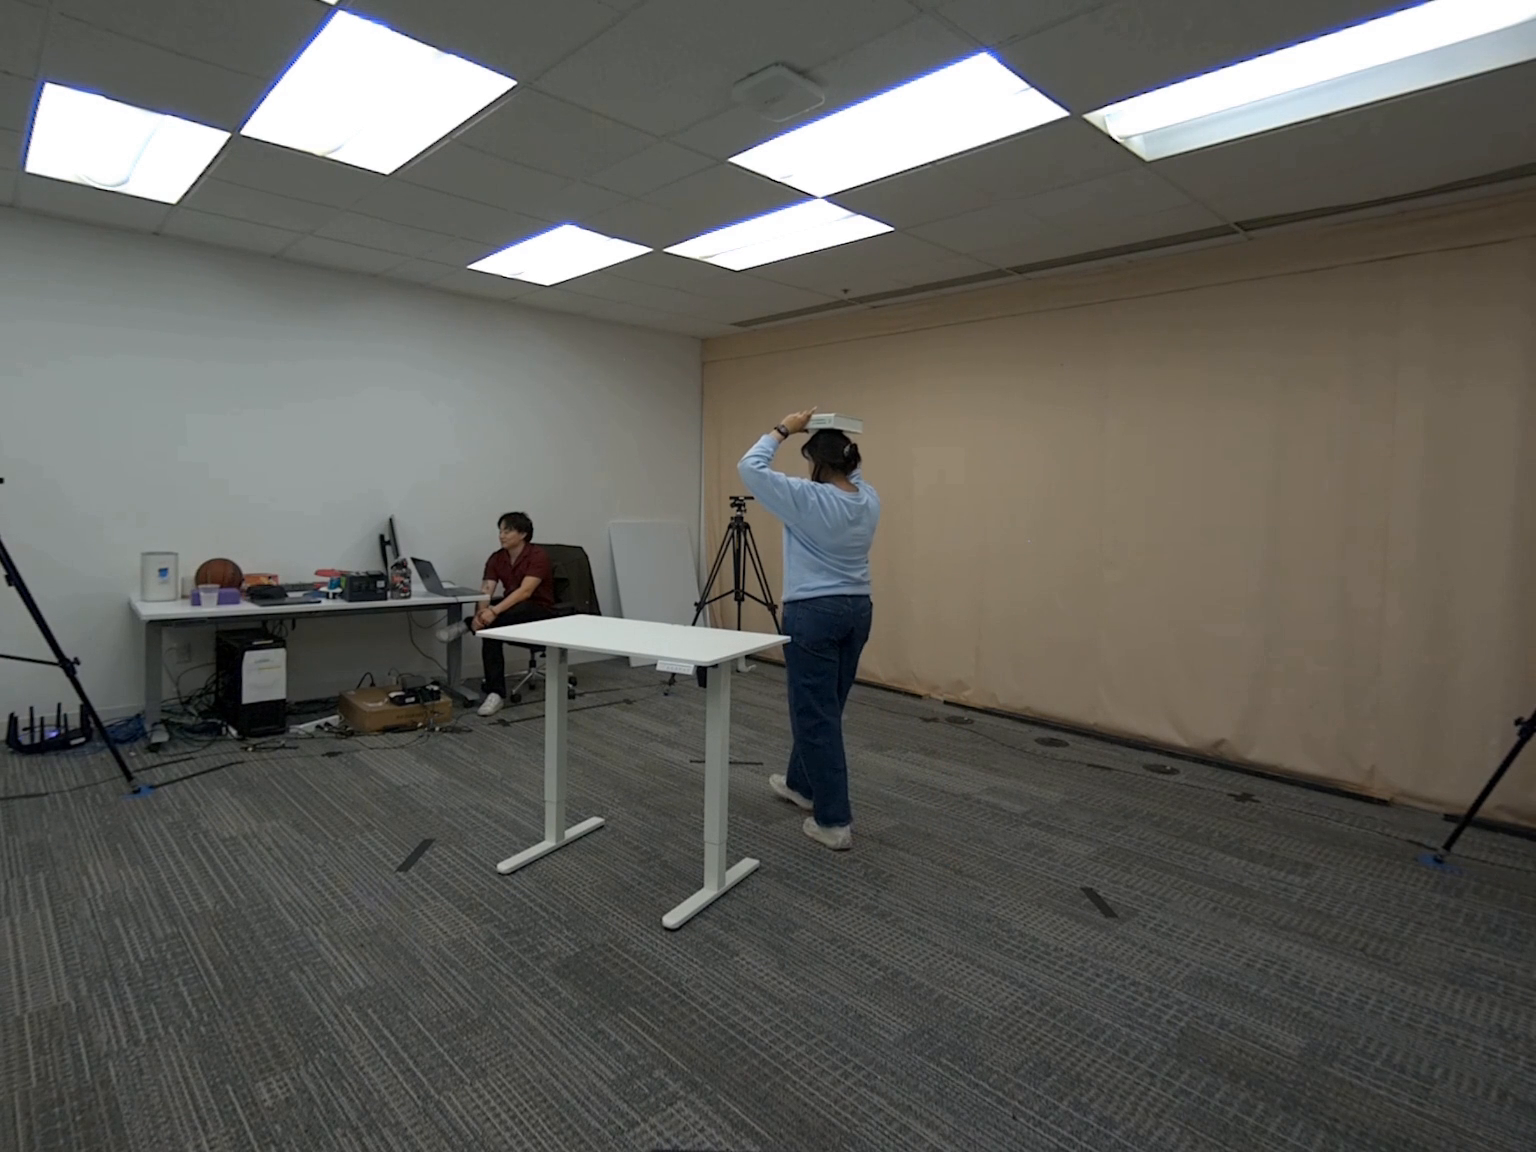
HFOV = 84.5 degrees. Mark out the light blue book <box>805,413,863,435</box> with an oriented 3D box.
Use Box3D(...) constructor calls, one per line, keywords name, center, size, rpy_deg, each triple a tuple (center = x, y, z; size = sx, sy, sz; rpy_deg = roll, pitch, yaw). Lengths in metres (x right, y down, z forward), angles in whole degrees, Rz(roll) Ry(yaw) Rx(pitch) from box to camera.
Box3D(name="light blue book", center=(0.236, -0.633, 3.505), size=(0.268, 0.059, 0.187), rpy_deg=(10, 6, 44))
